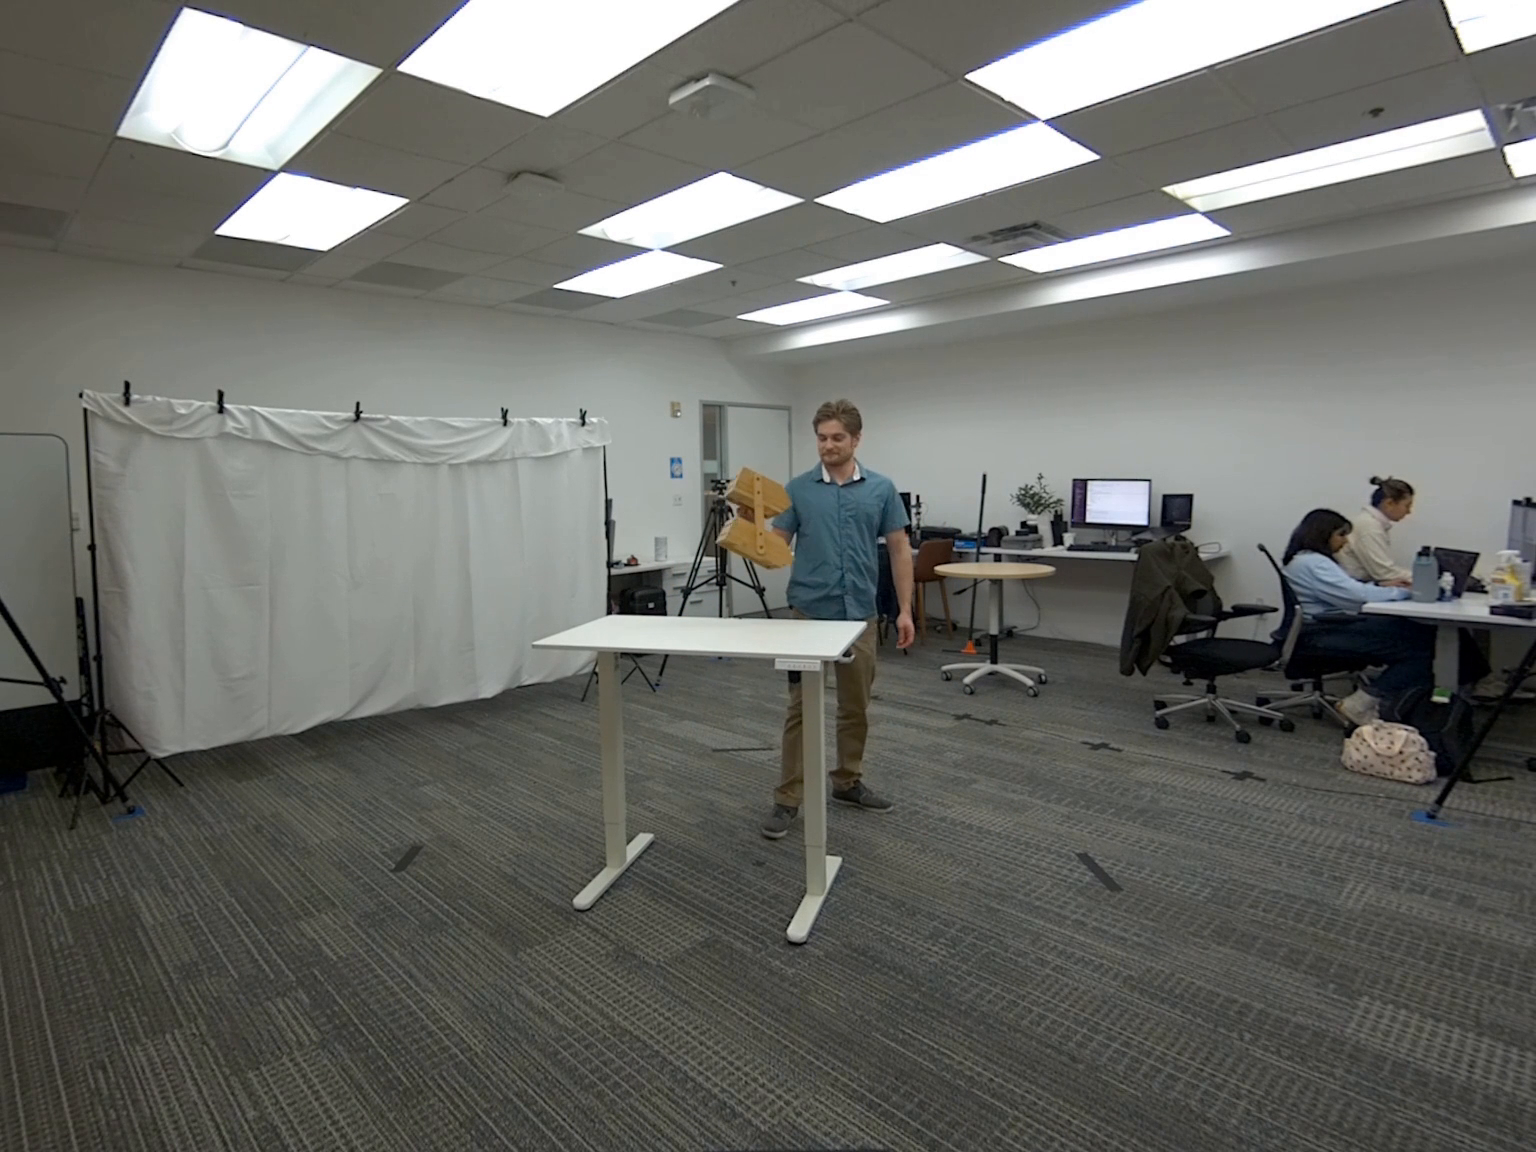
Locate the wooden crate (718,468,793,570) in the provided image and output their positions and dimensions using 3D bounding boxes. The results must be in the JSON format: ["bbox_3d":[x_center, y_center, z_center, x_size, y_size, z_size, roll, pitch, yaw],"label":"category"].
[{"bbox_3d":[-0.018,-0.202,3.127,0.299,0.274,0.326,26,-6,-8],"label":"wooden crate"}]
